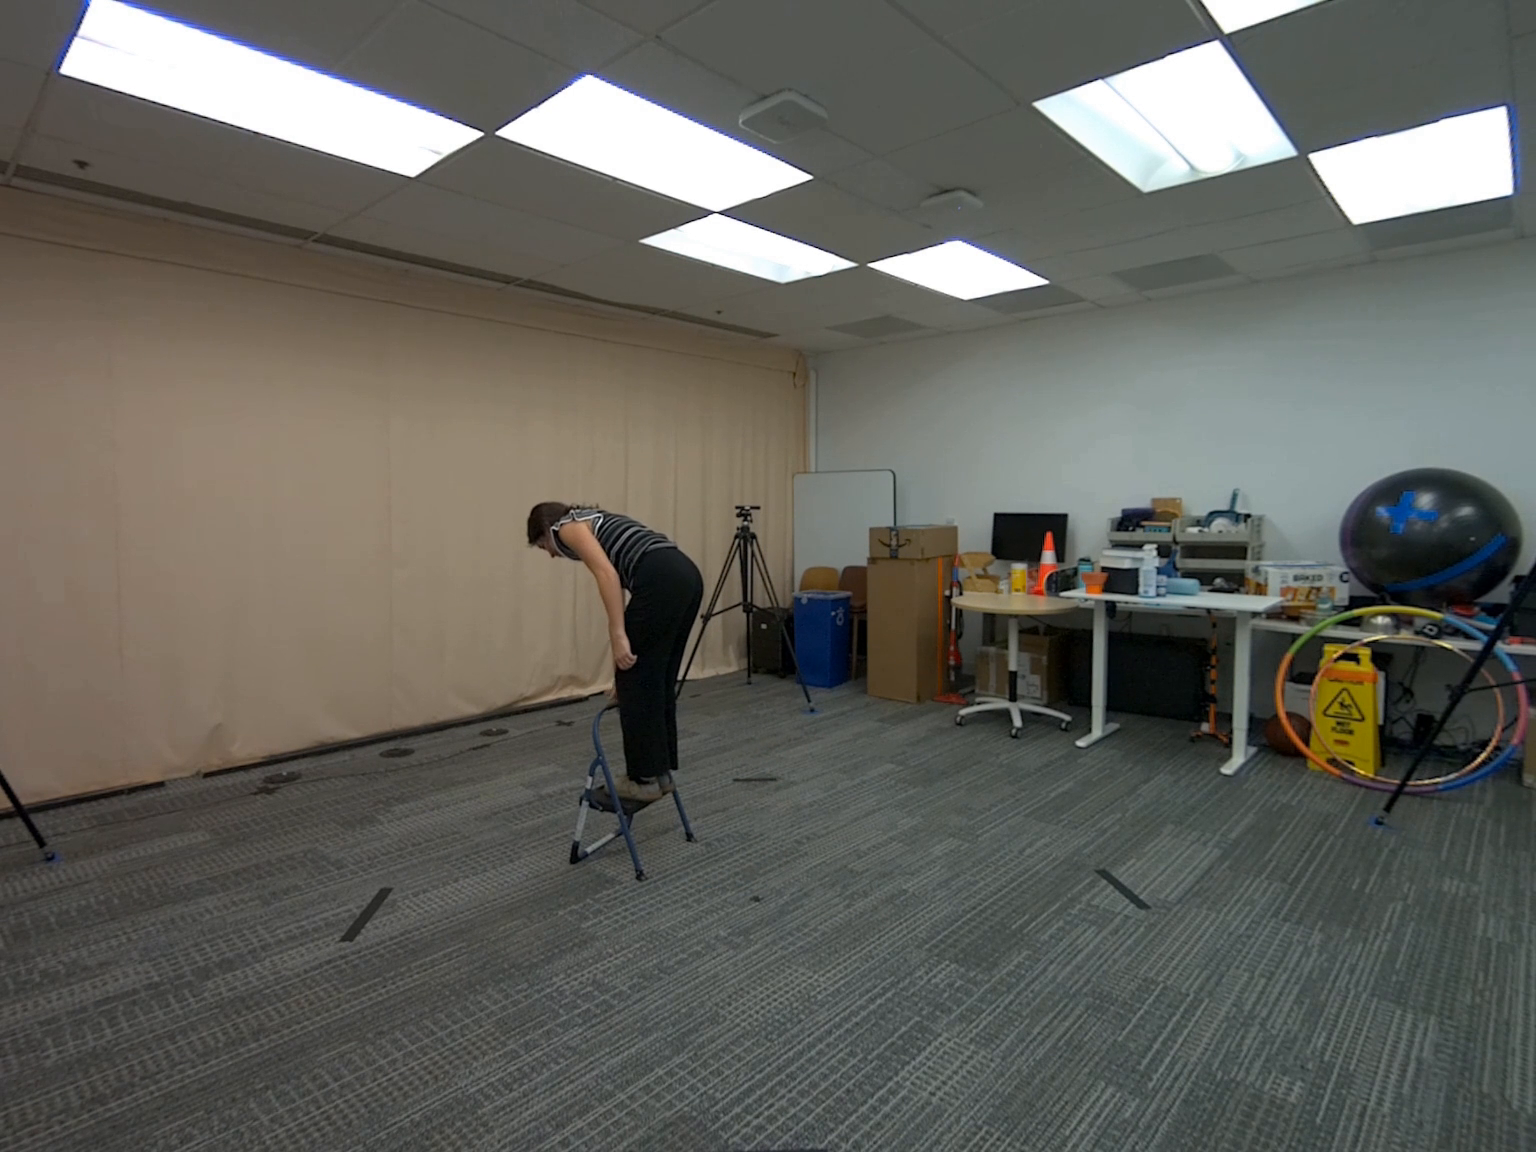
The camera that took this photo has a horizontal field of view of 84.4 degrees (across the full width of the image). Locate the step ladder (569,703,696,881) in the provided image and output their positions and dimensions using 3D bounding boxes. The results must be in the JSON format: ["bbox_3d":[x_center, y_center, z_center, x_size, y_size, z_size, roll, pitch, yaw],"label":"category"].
[{"bbox_3d":[-0.543,0.815,3.388,0.358,0.605,0.421,1,4,24],"label":"step ladder"}]
